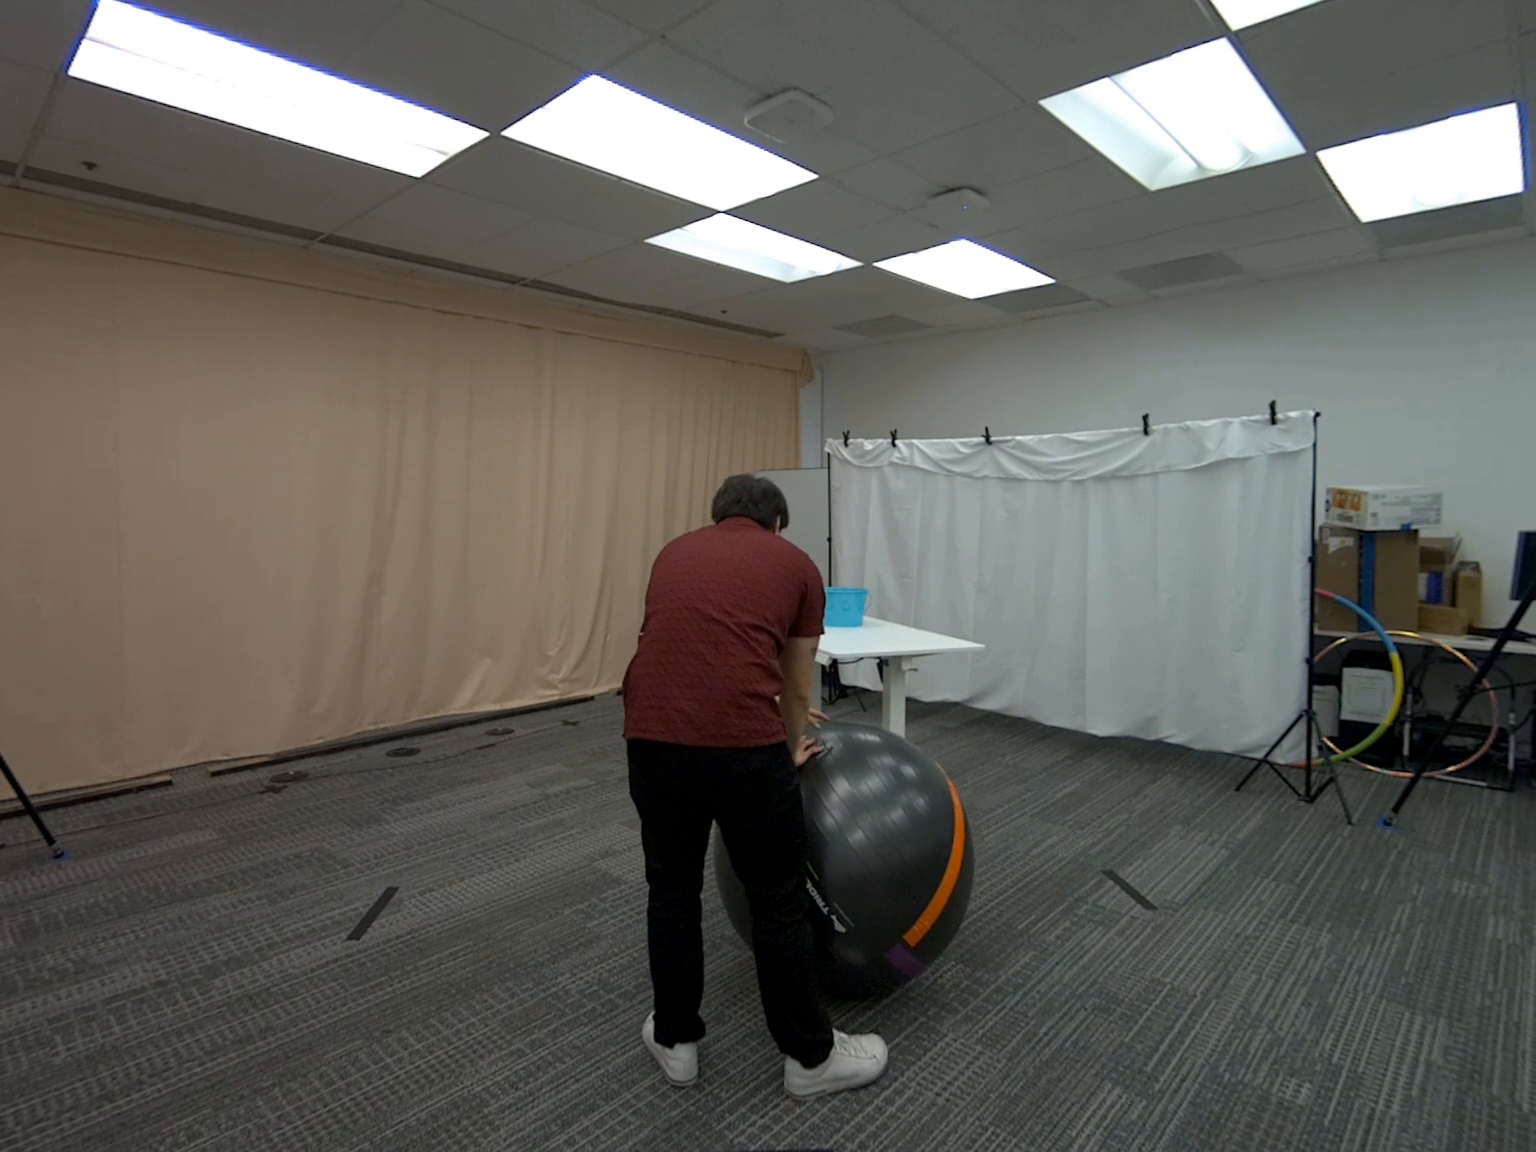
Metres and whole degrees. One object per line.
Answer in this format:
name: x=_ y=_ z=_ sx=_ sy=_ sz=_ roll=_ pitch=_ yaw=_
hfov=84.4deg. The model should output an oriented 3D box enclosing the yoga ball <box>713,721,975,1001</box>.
yoga ball: x=0.219 y=0.822 z=2.497 sx=0.757 sy=0.756 sz=0.760 roll=0 pitch=4 yaw=-2
